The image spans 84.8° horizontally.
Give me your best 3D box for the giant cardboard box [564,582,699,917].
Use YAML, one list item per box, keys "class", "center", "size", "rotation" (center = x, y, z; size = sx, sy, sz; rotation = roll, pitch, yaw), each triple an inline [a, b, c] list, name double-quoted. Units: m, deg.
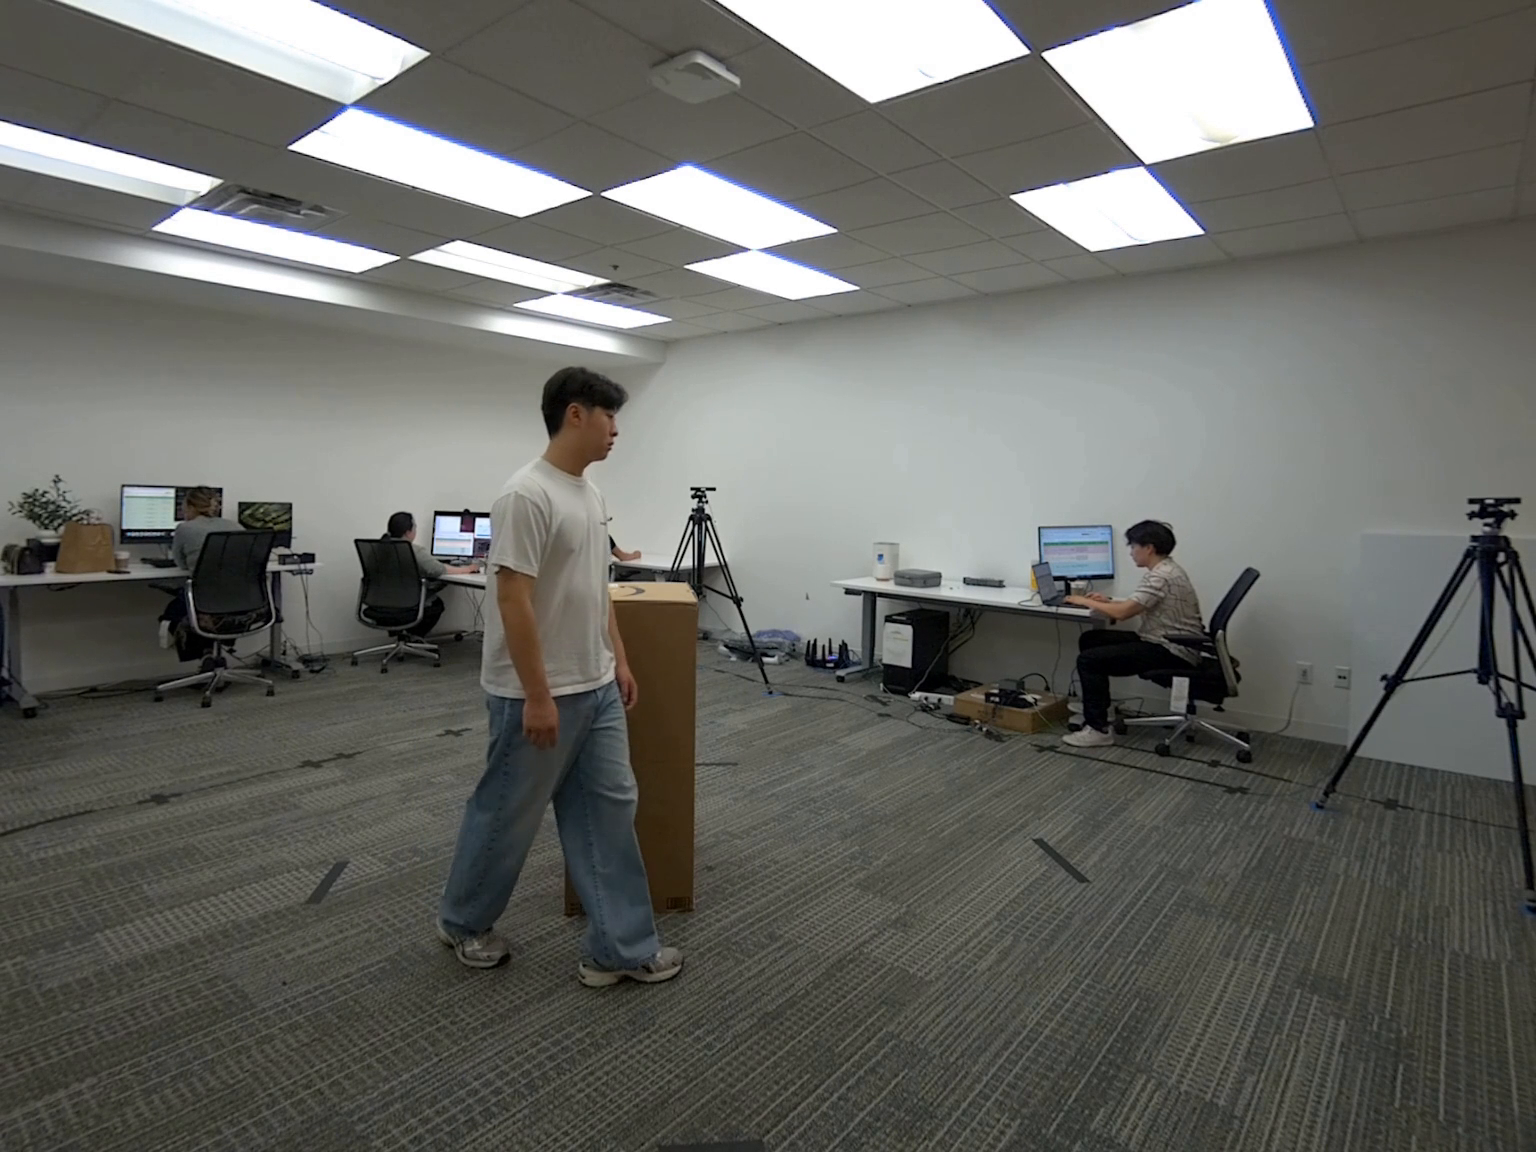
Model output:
- class: "giant cardboard box"
  center: [-0.494, 0.560, 3.024]
  size: [0.423, 1.023, 0.584]
  rotation: [1, 3, -8]
